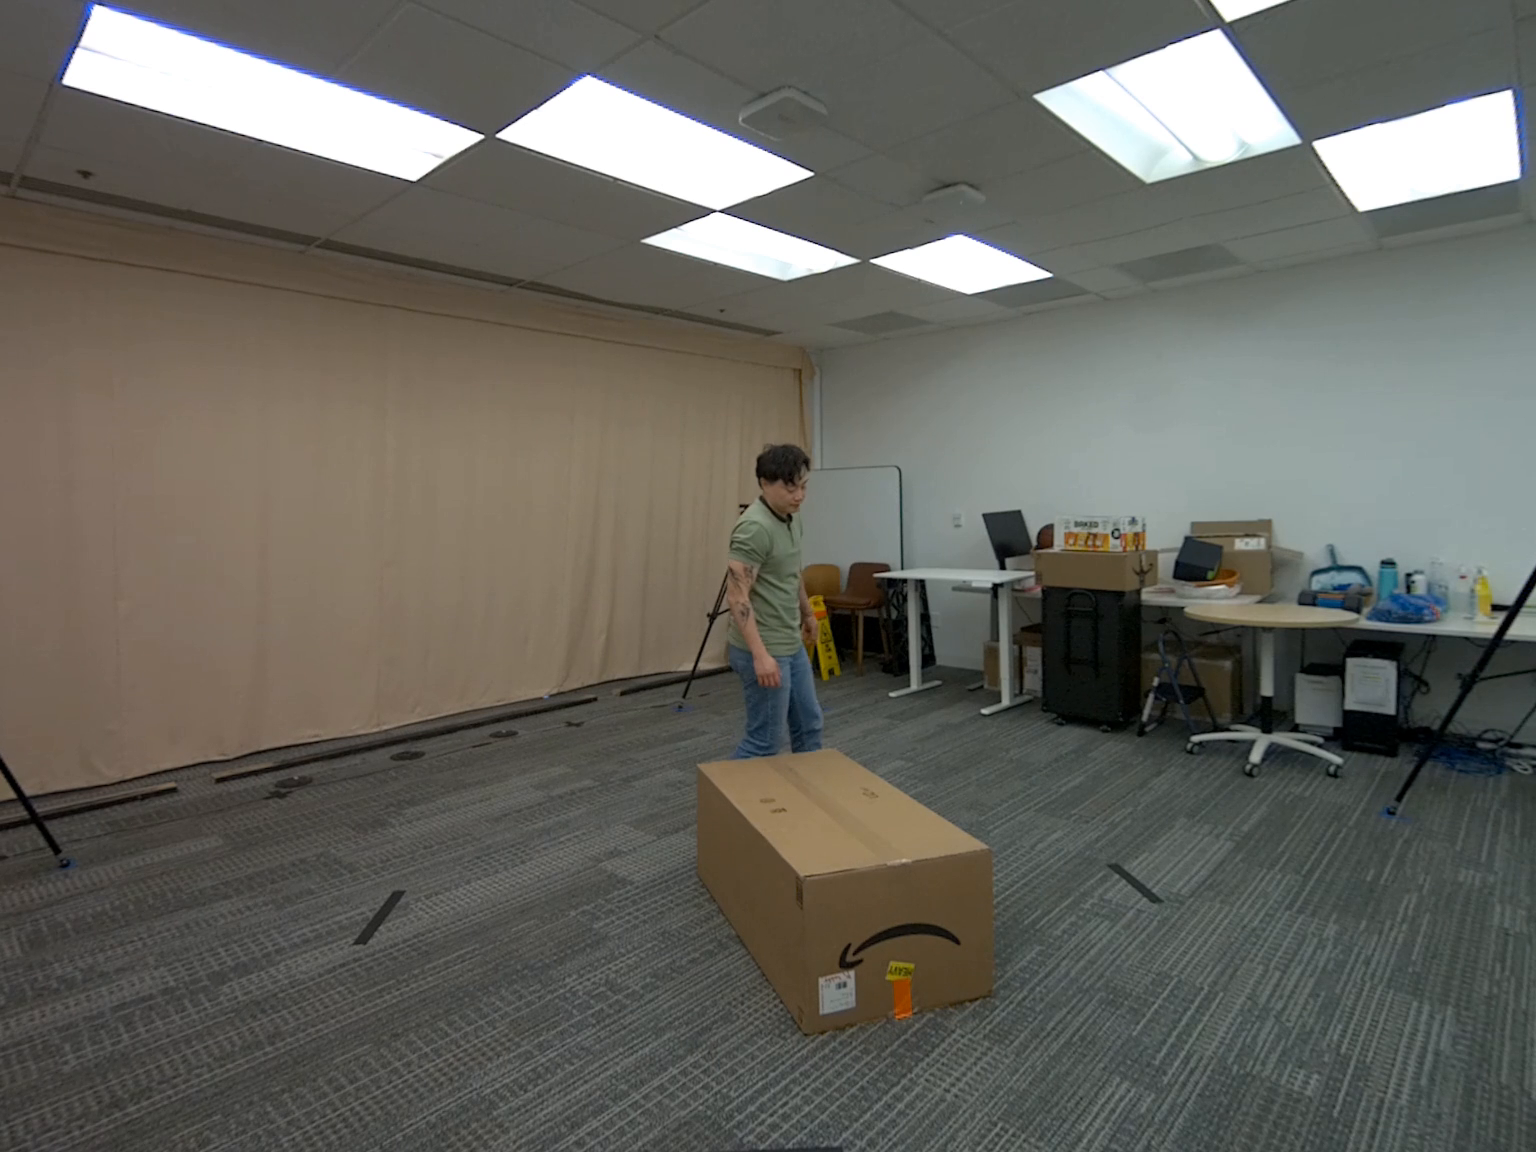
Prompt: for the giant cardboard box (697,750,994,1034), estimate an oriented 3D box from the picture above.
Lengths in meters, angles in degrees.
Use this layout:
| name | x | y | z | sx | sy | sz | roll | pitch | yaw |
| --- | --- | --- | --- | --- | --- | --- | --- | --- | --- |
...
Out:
| name | x | y | z | sx | sy | sz | roll | pitch | yaw |
| --- | --- | --- | --- | --- | --- | --- | --- | --- | --- |
| giant cardboard box | 0.184 | 0.941 | 2.755 | 0.567 | 0.425 | 1.048 | -2 | 5 | -19 |
